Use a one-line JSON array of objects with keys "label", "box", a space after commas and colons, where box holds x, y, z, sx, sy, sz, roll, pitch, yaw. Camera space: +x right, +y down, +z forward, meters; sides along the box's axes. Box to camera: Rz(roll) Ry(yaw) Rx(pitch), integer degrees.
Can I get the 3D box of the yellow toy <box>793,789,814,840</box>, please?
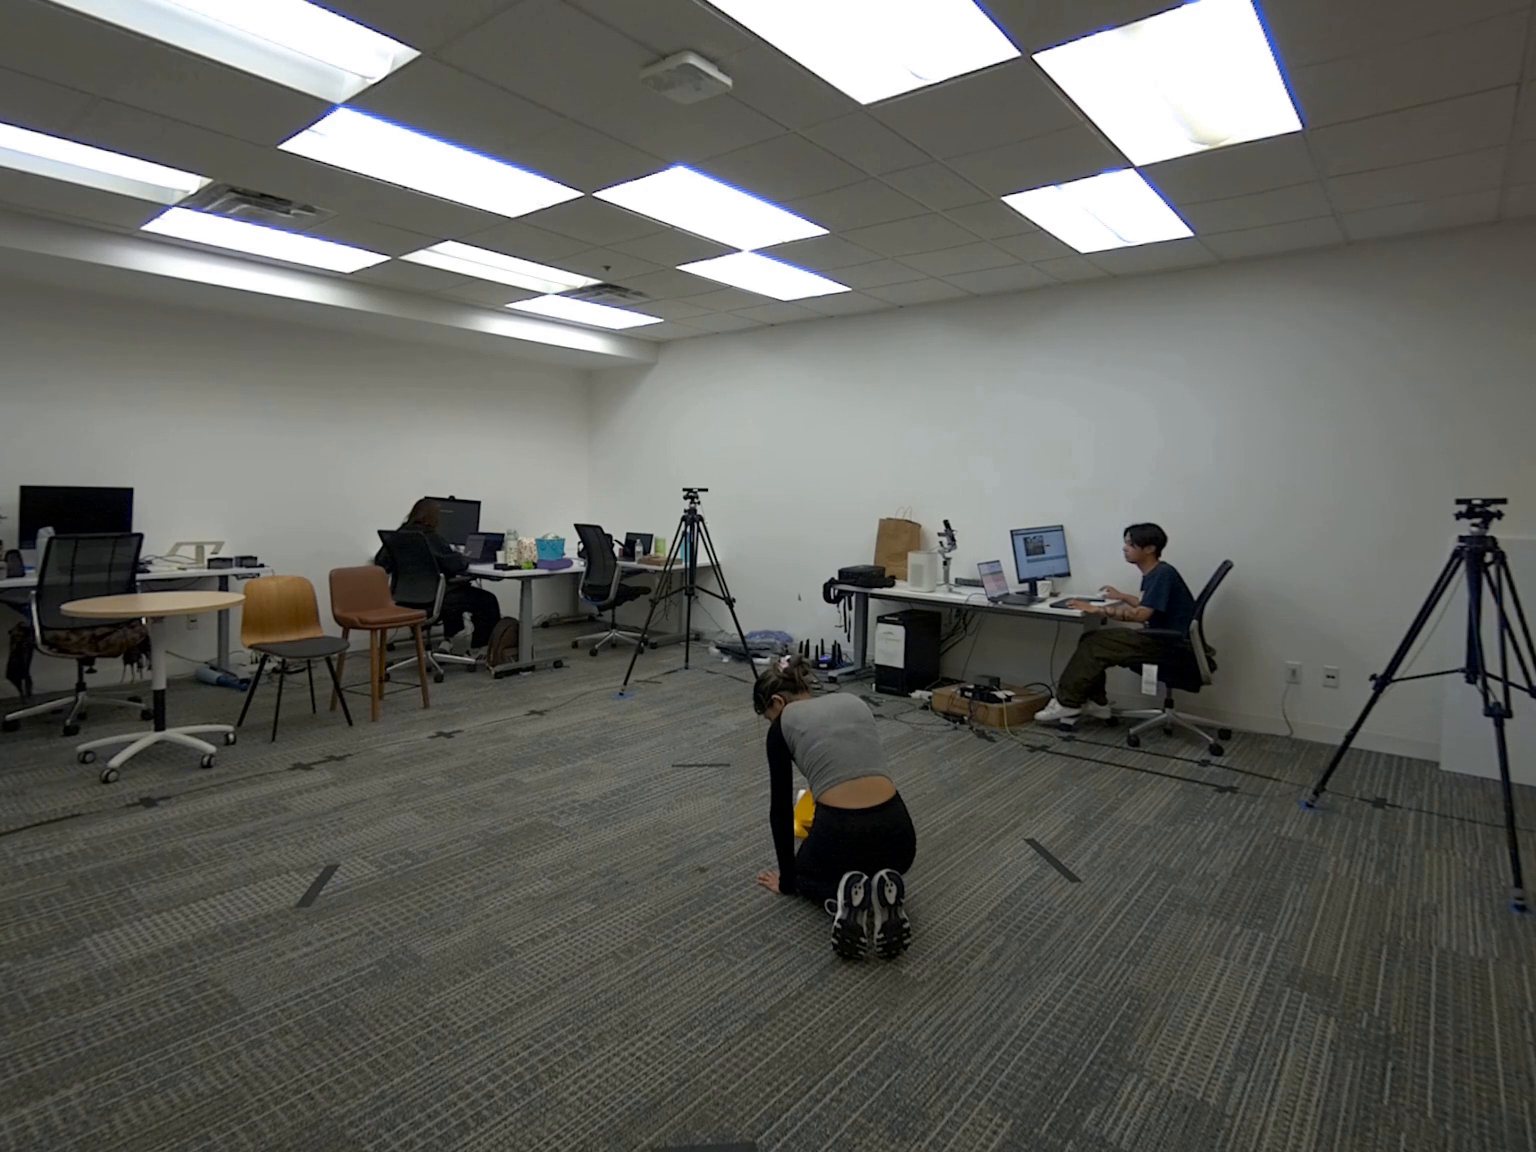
[{"label": "yellow toy", "box": [0.184, 0.923, 3.475, 0.206, 0.230, 0.193, 0, 4, 4]}]
